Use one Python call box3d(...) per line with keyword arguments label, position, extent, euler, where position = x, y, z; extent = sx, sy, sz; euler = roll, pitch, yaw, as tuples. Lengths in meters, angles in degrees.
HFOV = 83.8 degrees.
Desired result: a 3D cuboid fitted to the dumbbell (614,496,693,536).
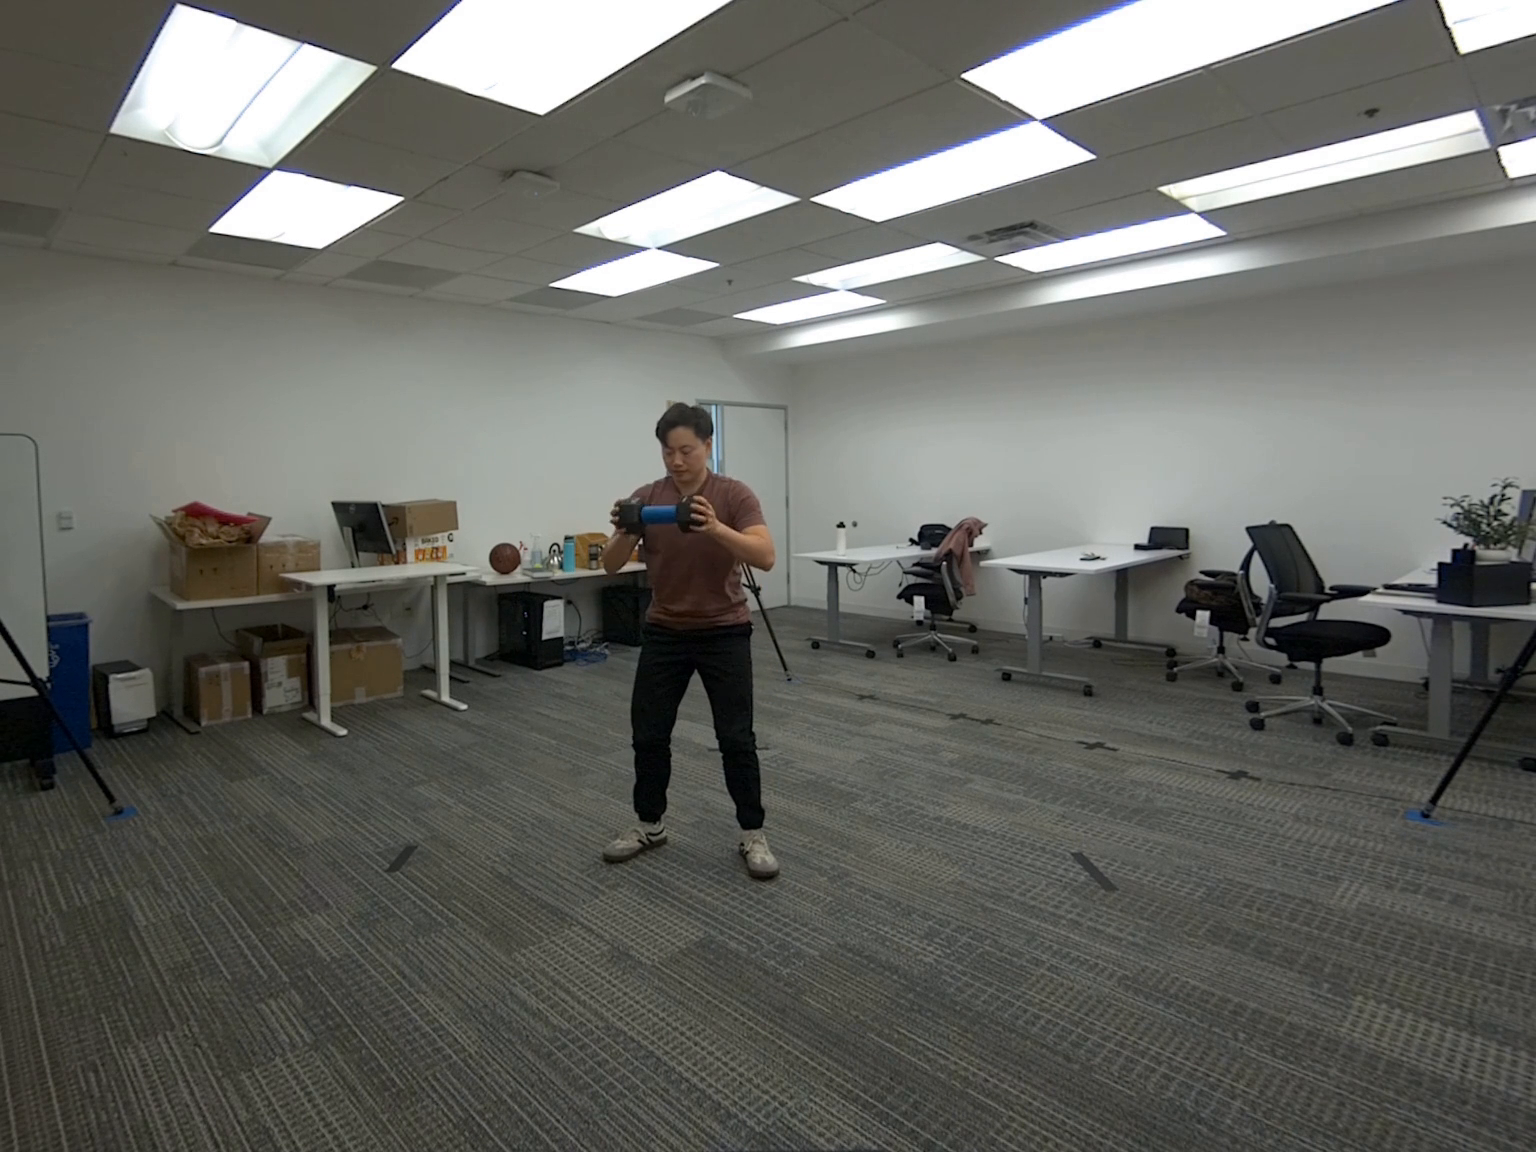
box3d(label="dumbbell", position=(-0.357, -0.178, 2.847), extent=(0.298, 0.124, 0.106), euler=(-1, -10, 15))
